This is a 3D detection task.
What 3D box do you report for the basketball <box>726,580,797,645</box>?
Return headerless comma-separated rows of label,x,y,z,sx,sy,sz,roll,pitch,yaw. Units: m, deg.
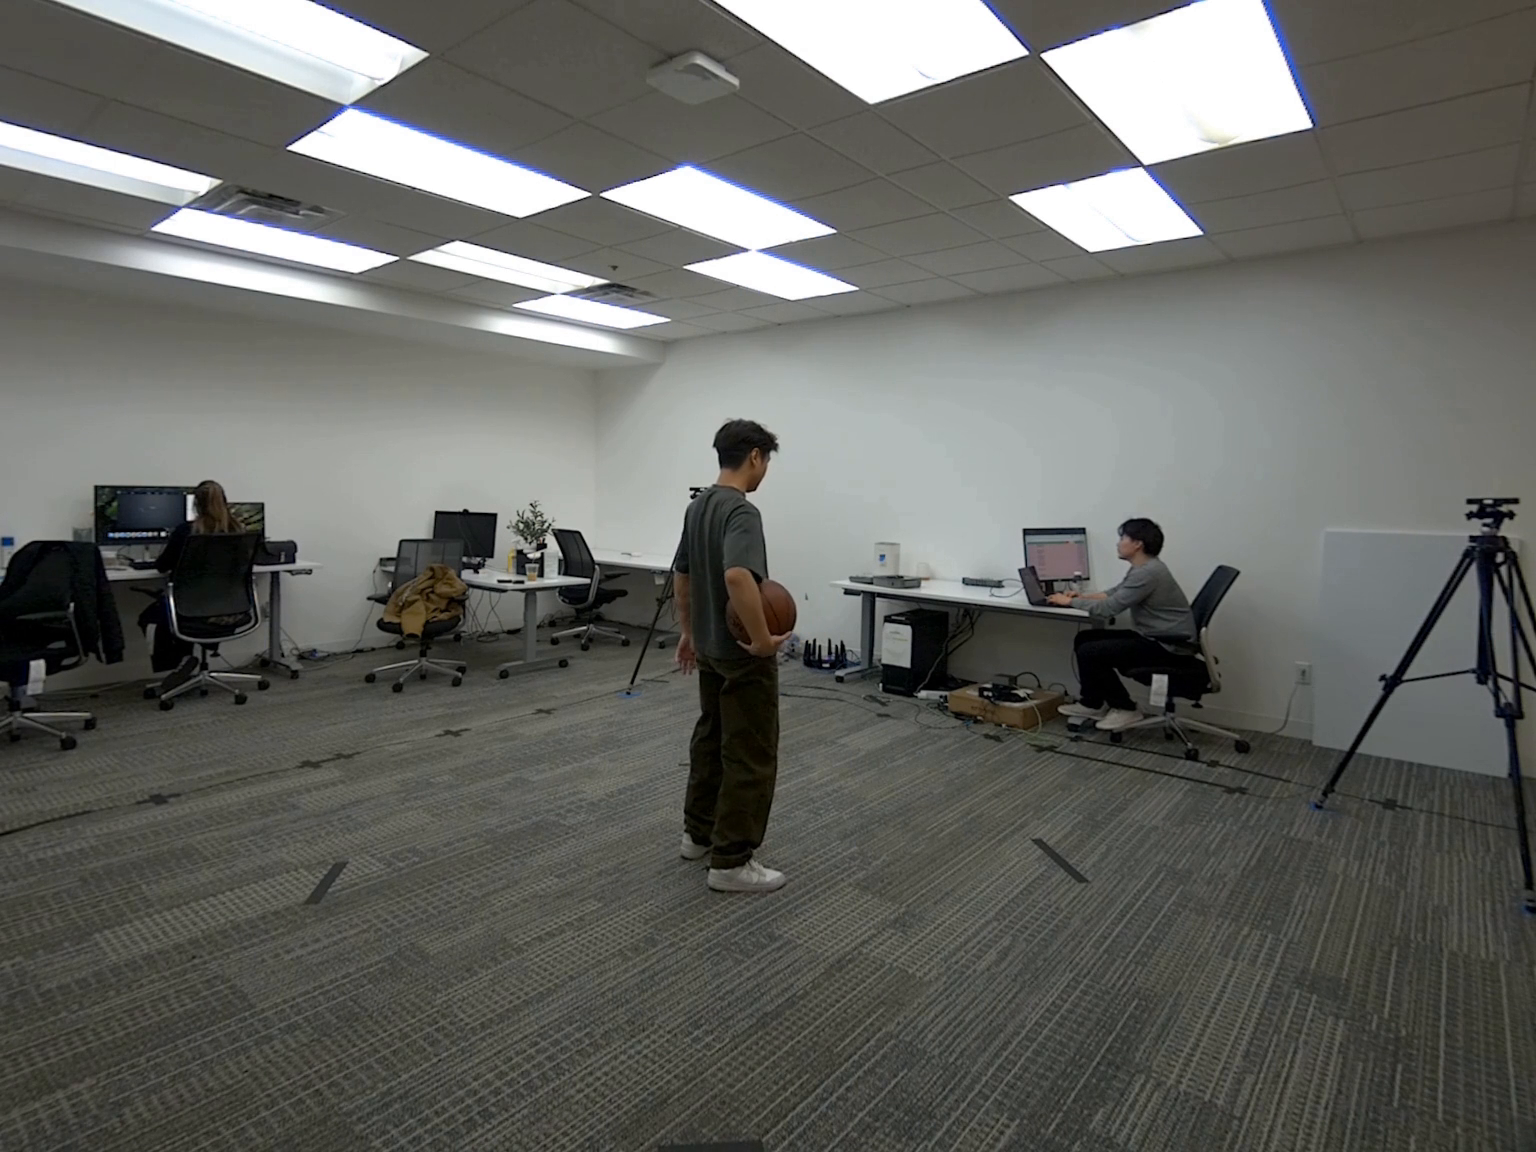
basketball,-0.032,0.124,2.882,0.235,0.235,0.237,1,4,-2
